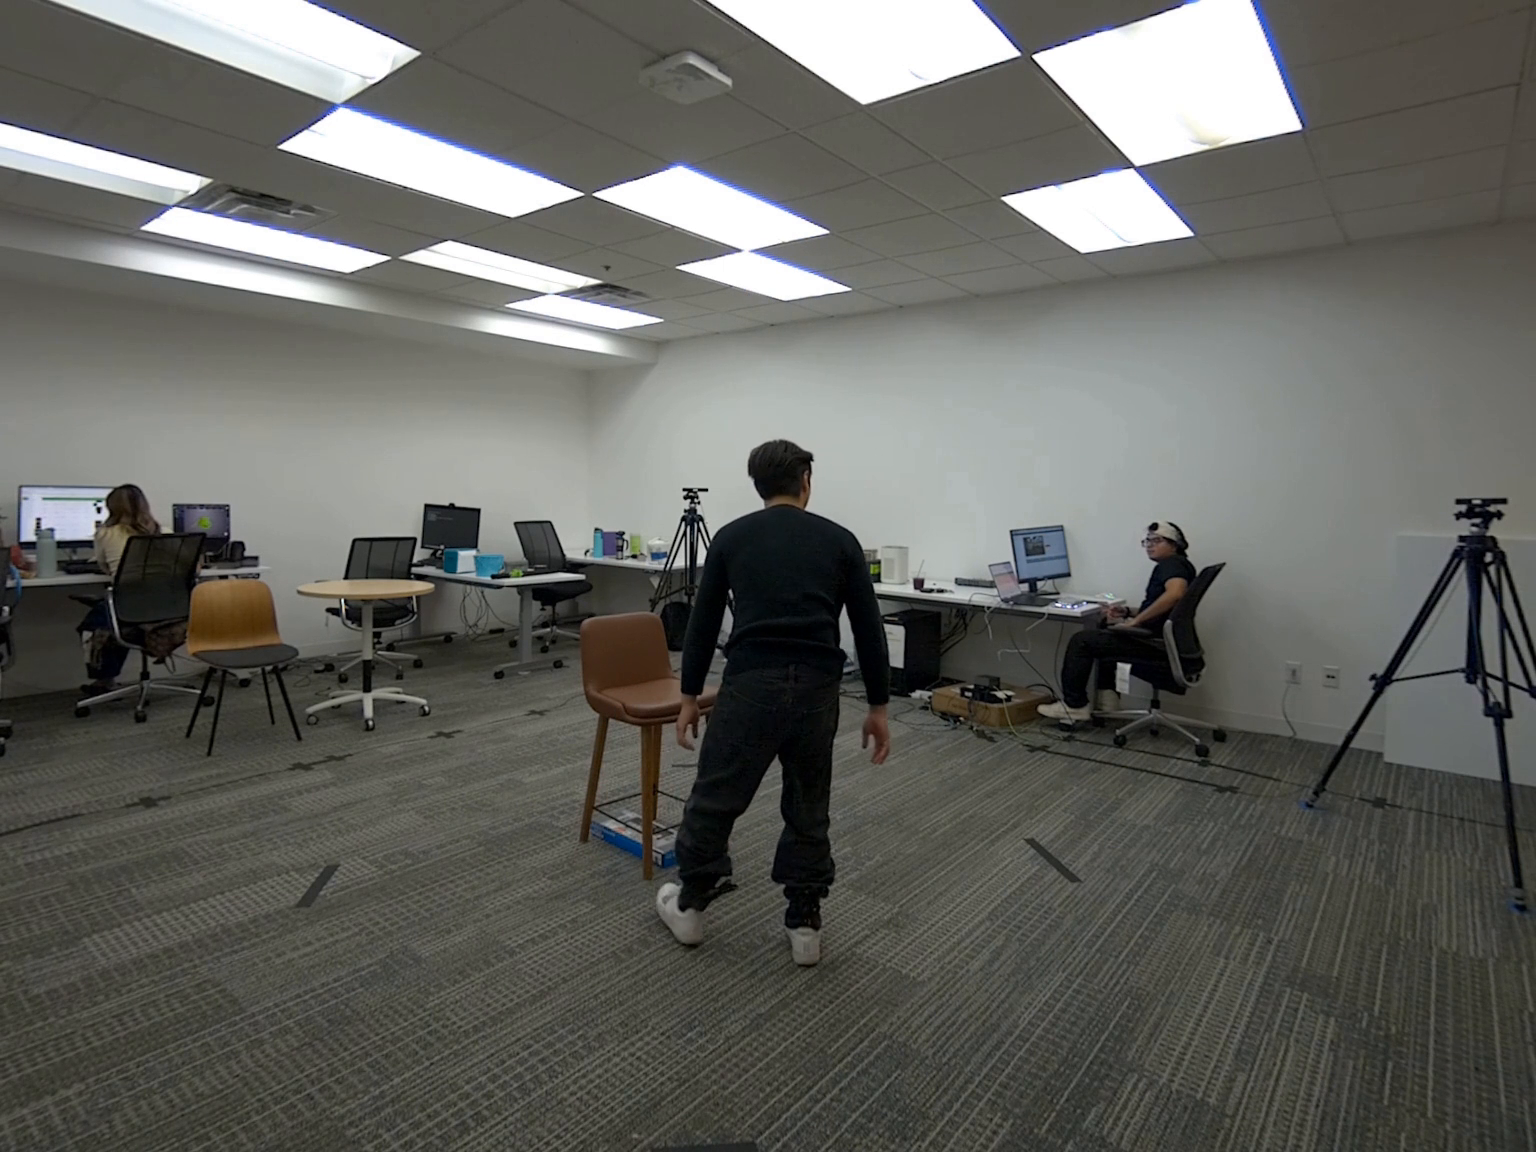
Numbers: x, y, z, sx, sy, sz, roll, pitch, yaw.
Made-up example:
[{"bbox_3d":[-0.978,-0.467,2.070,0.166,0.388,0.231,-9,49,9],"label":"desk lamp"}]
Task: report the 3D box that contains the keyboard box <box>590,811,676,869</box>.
[{"bbox_3d":[-0.507,1.021,3.317,0.452,0.059,0.170,7,7,43],"label":"keyboard box"}]
